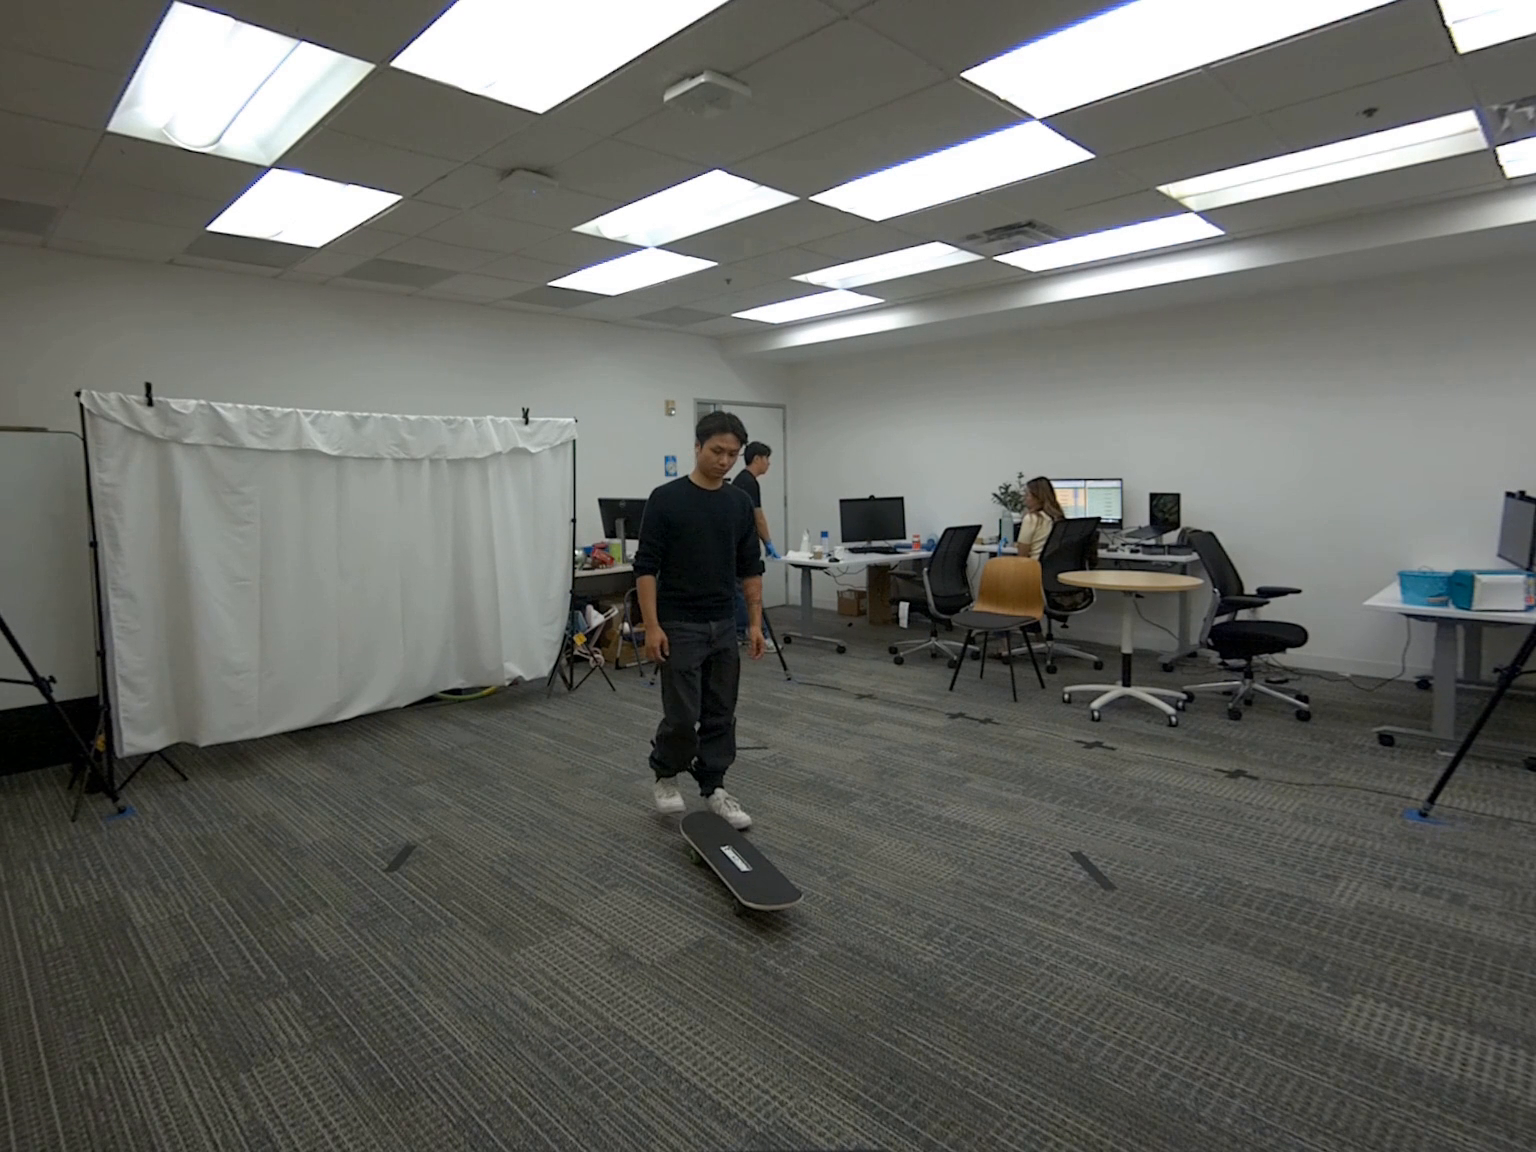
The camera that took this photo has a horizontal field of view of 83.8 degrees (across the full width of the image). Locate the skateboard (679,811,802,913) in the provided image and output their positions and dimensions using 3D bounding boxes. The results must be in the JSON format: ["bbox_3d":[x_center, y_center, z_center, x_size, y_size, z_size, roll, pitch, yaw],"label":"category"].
[{"bbox_3d":[-0.106,1.005,2.947,0.190,0.110,0.804,-4,7,-24],"label":"skateboard"}]
